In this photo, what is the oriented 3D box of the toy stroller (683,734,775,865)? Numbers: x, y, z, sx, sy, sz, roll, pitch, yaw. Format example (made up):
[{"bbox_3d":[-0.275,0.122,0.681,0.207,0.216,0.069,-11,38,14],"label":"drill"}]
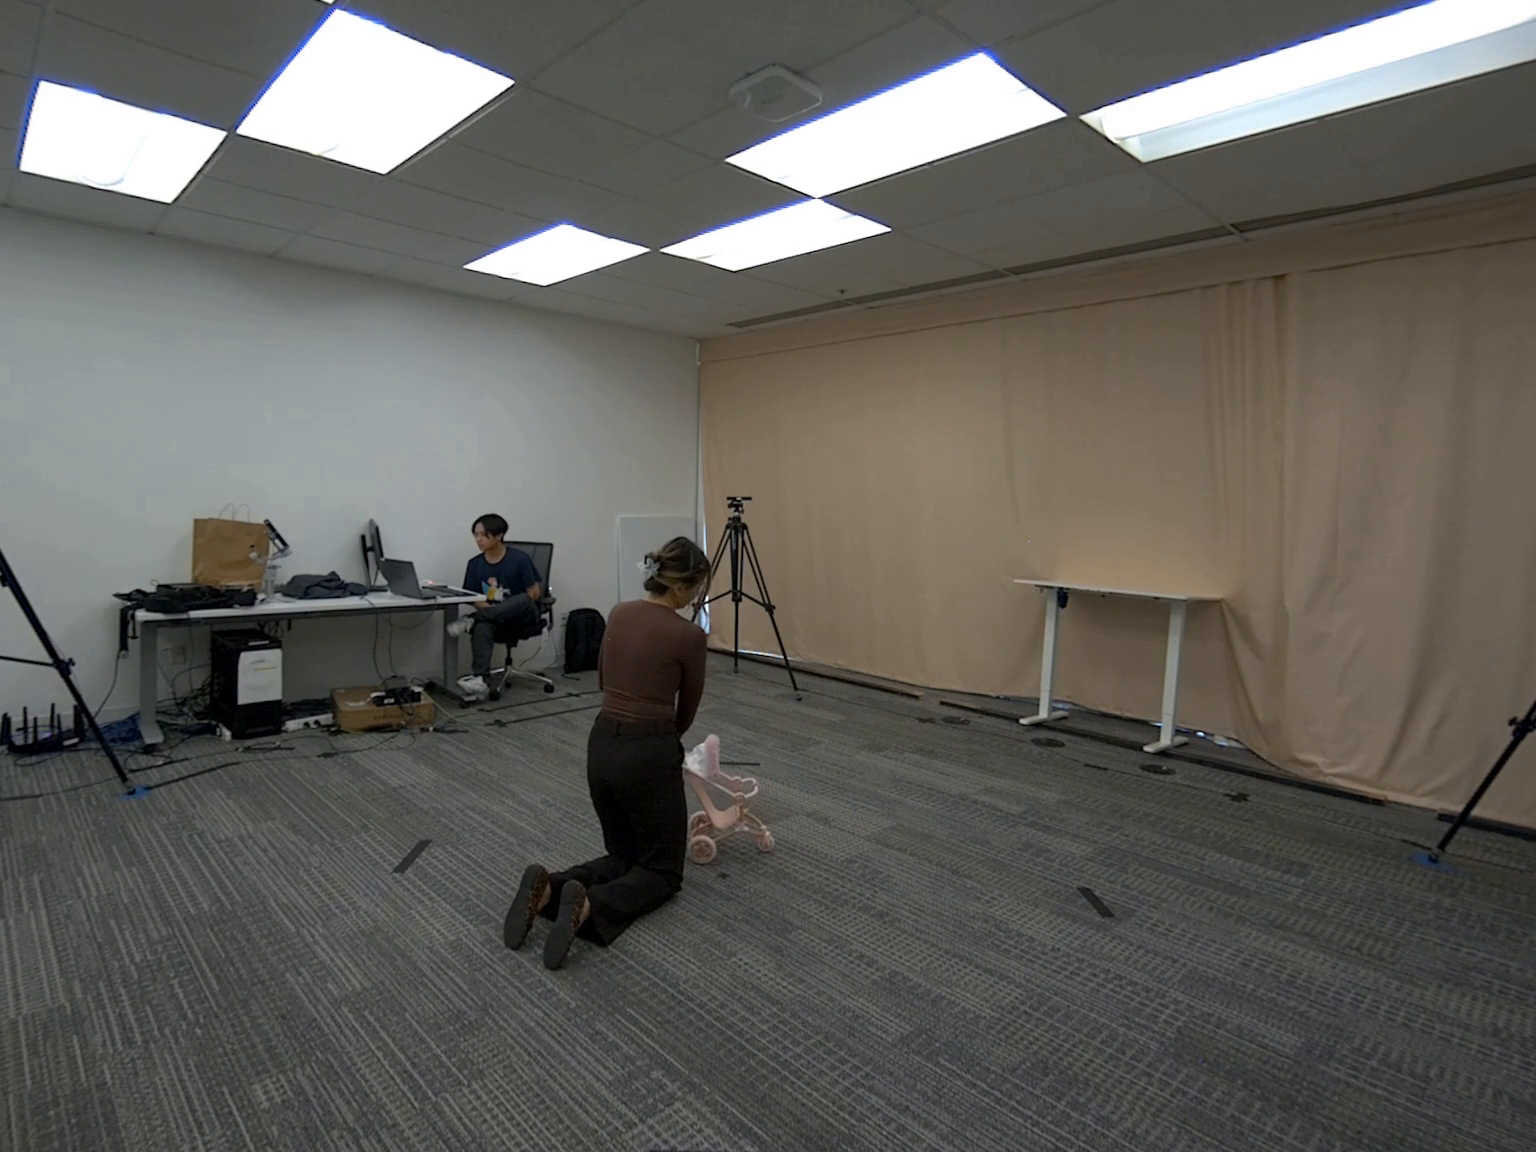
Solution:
[{"bbox_3d":[-0.189,0.868,3.314,0.342,0.534,0.281,-14,2,2],"label":"toy stroller"}]
